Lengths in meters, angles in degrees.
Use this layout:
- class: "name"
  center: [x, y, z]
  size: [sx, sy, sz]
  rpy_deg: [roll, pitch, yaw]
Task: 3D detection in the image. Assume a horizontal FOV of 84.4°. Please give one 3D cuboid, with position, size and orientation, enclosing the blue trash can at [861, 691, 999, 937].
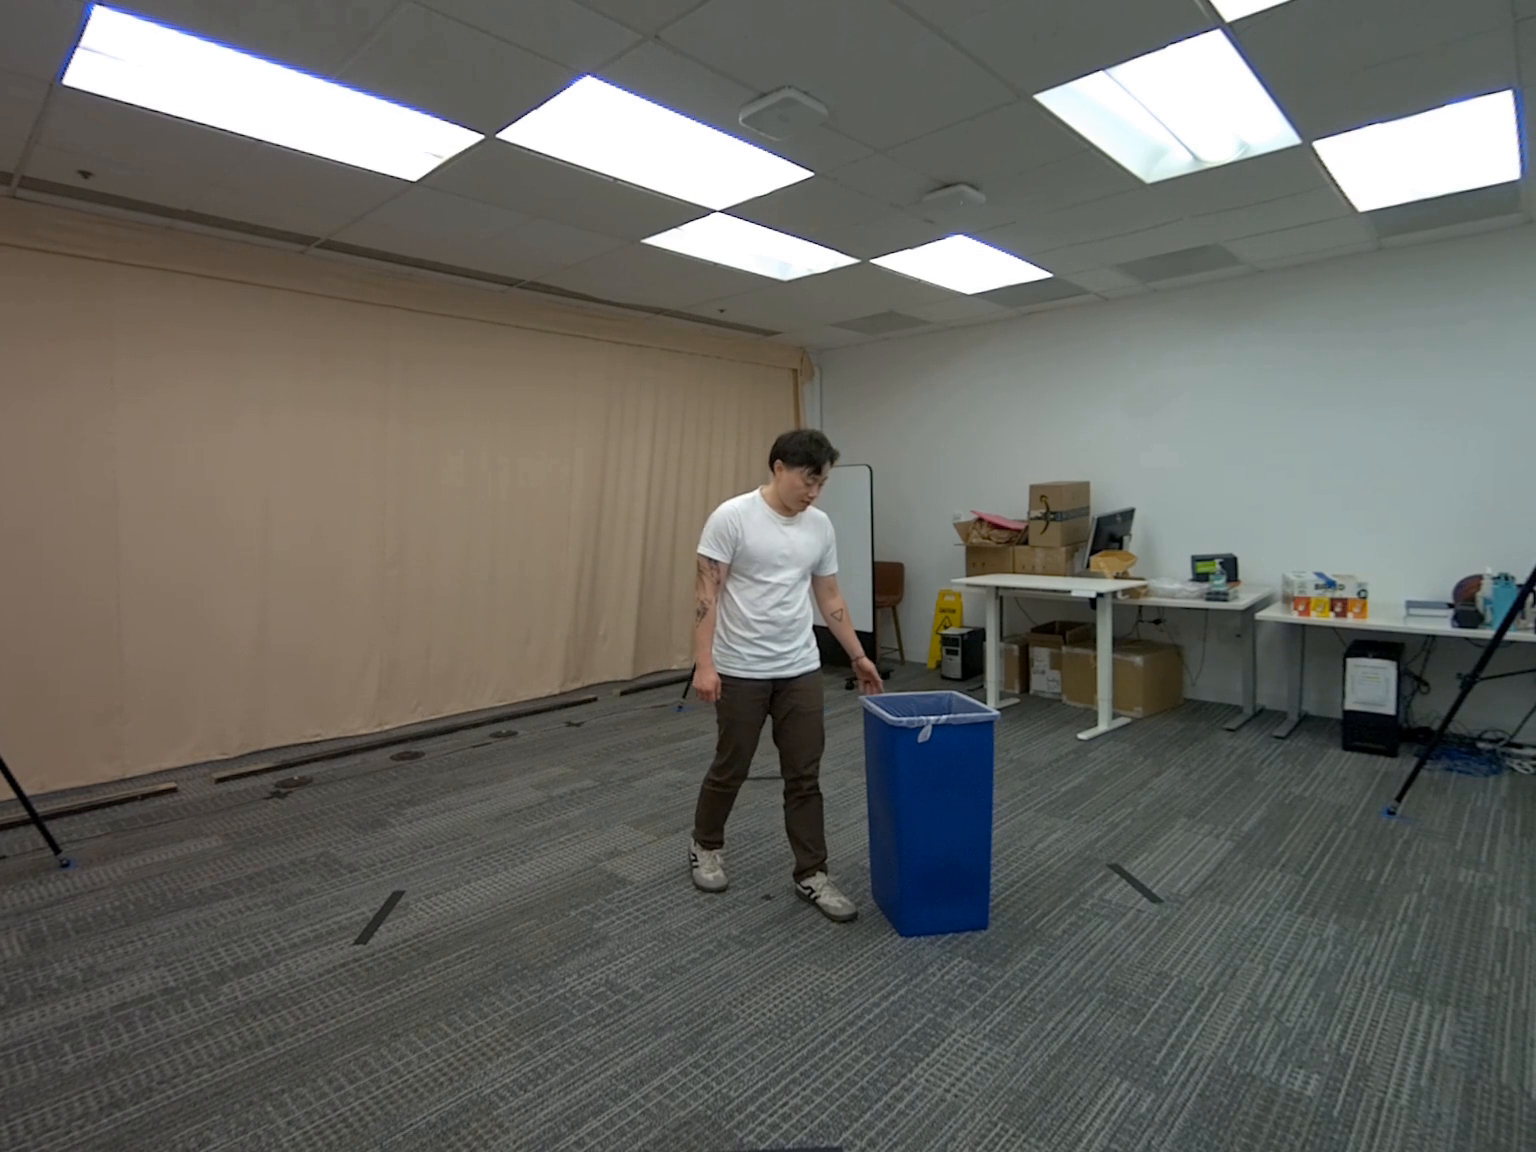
- class: "blue trash can"
  center: [0.554, 0.790, 2.834]
  size: [0.371, 0.712, 0.382]
  rpy_deg: [-1, 3, -9]
